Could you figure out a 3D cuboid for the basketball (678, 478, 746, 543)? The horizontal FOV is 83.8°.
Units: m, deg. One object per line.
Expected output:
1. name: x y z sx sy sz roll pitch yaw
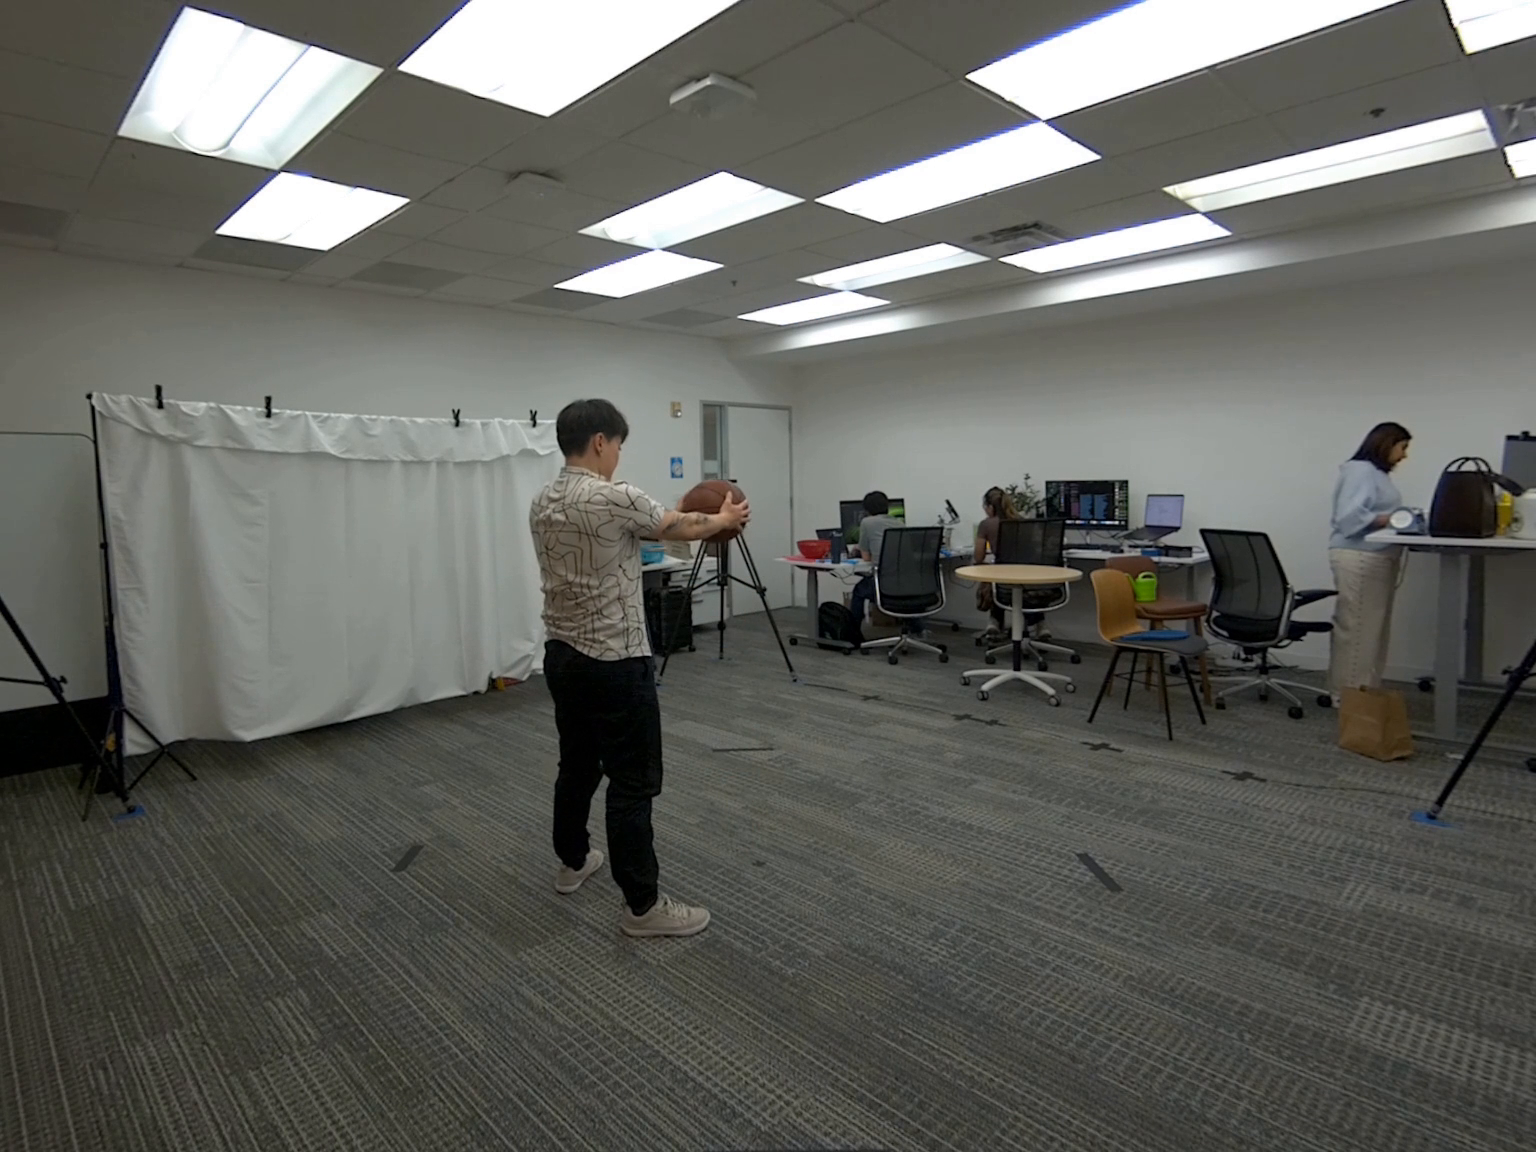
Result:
1. basketball: -0.186 -0.236 3.139 0.236 0.235 0.237 -1 5 -2
